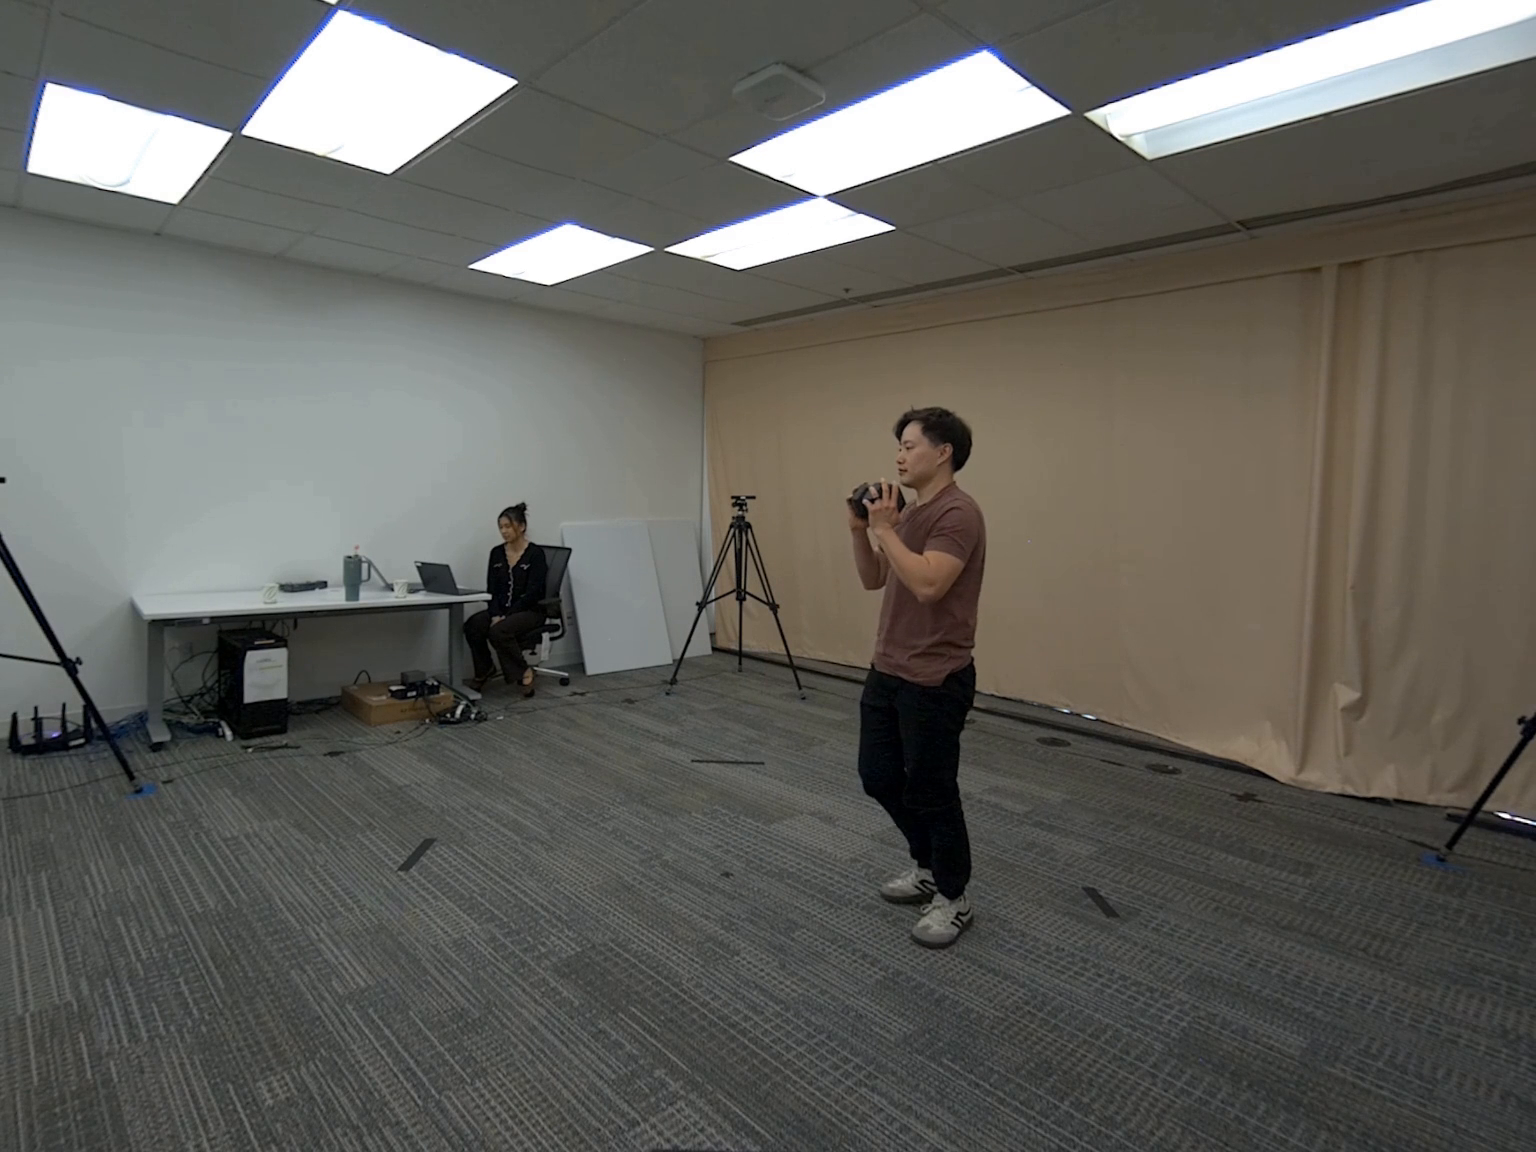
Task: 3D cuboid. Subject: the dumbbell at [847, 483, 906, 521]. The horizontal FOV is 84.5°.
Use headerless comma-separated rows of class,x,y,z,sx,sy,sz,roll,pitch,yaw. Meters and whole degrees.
dumbbell,0.362,-0.229,2.679,0.122,0.108,0.295,12,3,-4
